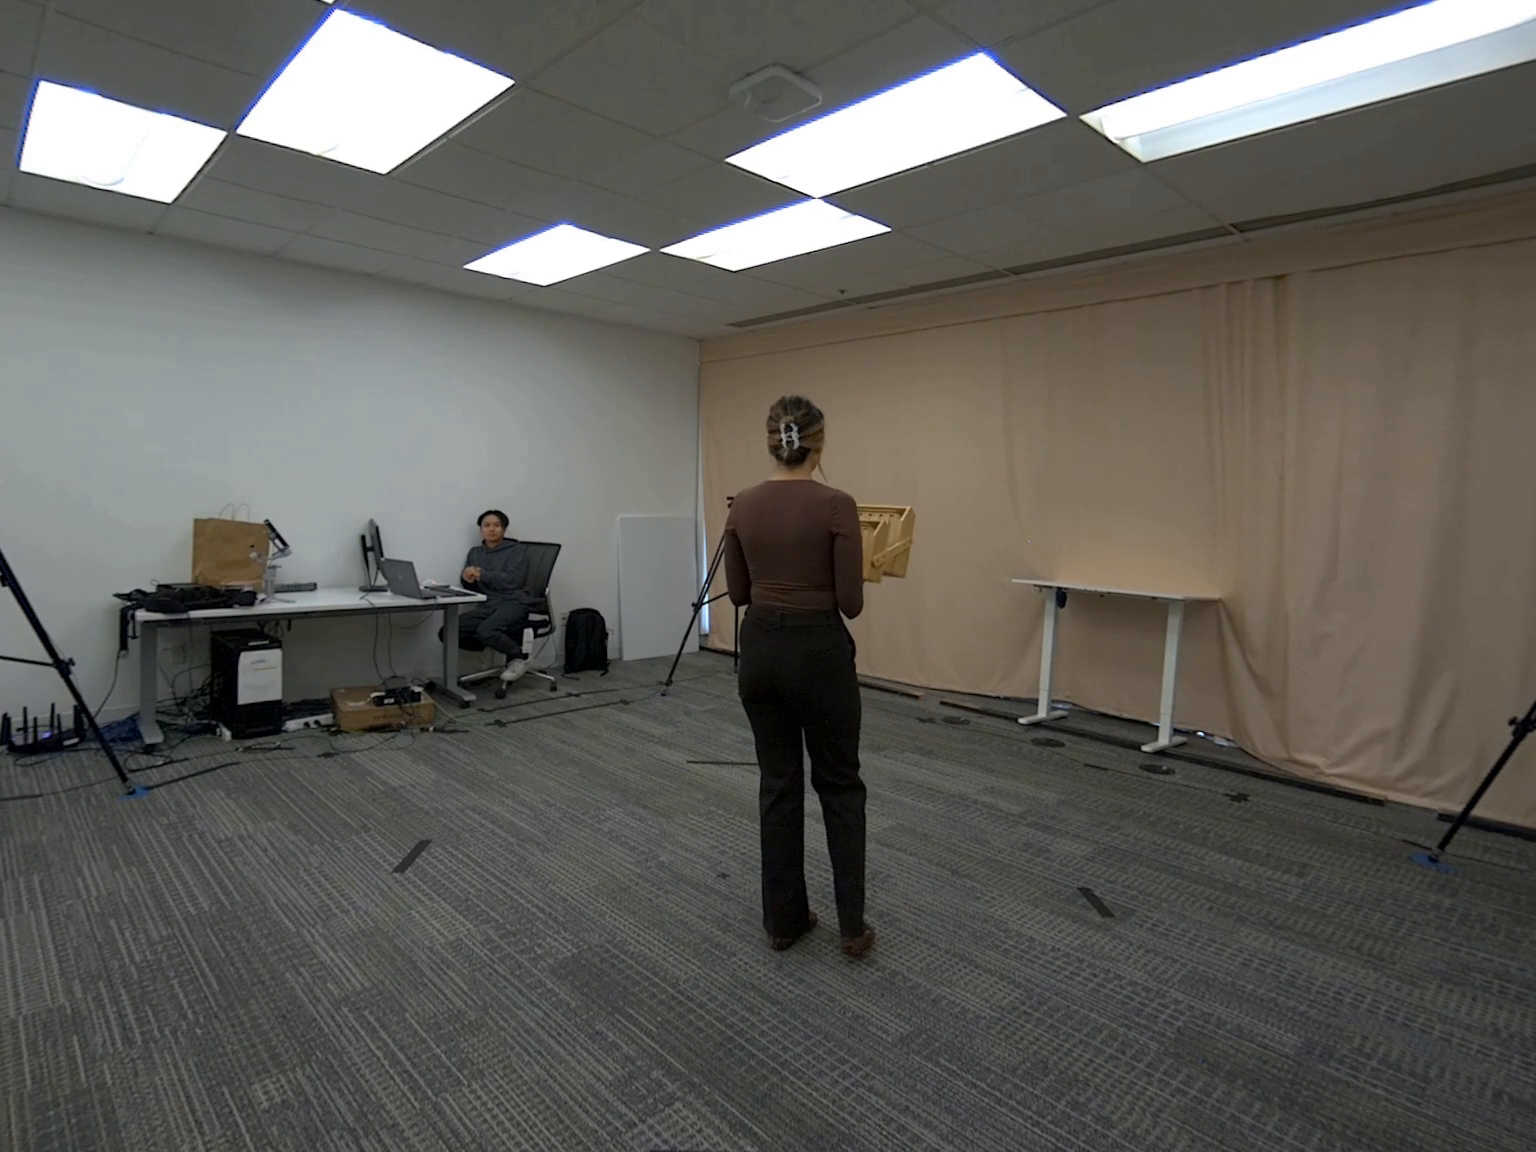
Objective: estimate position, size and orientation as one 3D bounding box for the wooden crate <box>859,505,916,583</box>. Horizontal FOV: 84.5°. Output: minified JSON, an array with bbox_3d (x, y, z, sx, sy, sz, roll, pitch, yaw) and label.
[{"bbox_3d":[0.298,-0.125,2.957,0.332,0.303,0.265,5,-9,37],"label":"wooden crate"}]
